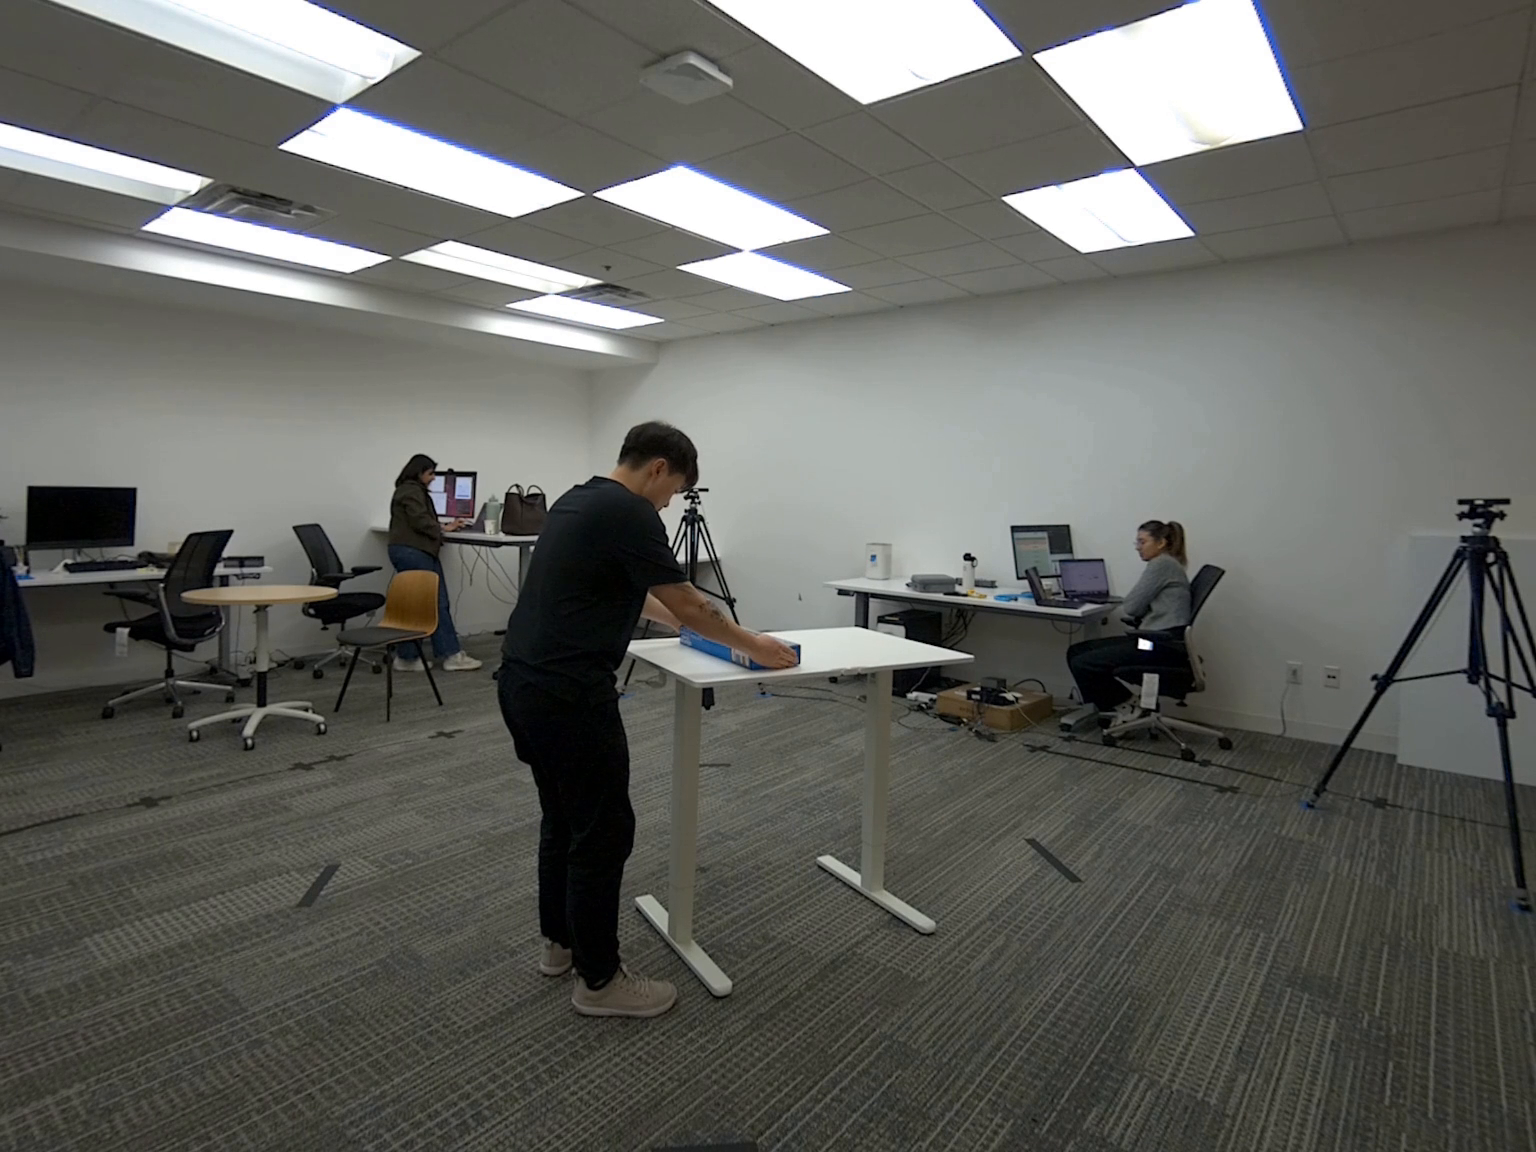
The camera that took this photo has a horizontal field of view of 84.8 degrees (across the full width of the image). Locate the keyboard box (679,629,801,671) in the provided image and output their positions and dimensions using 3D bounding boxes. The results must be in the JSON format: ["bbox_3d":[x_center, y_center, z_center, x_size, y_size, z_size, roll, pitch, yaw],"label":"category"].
[{"bbox_3d":[-0.107,0.212,2.586,0.172,0.059,0.449,-1,5,-27],"label":"keyboard box"}]
